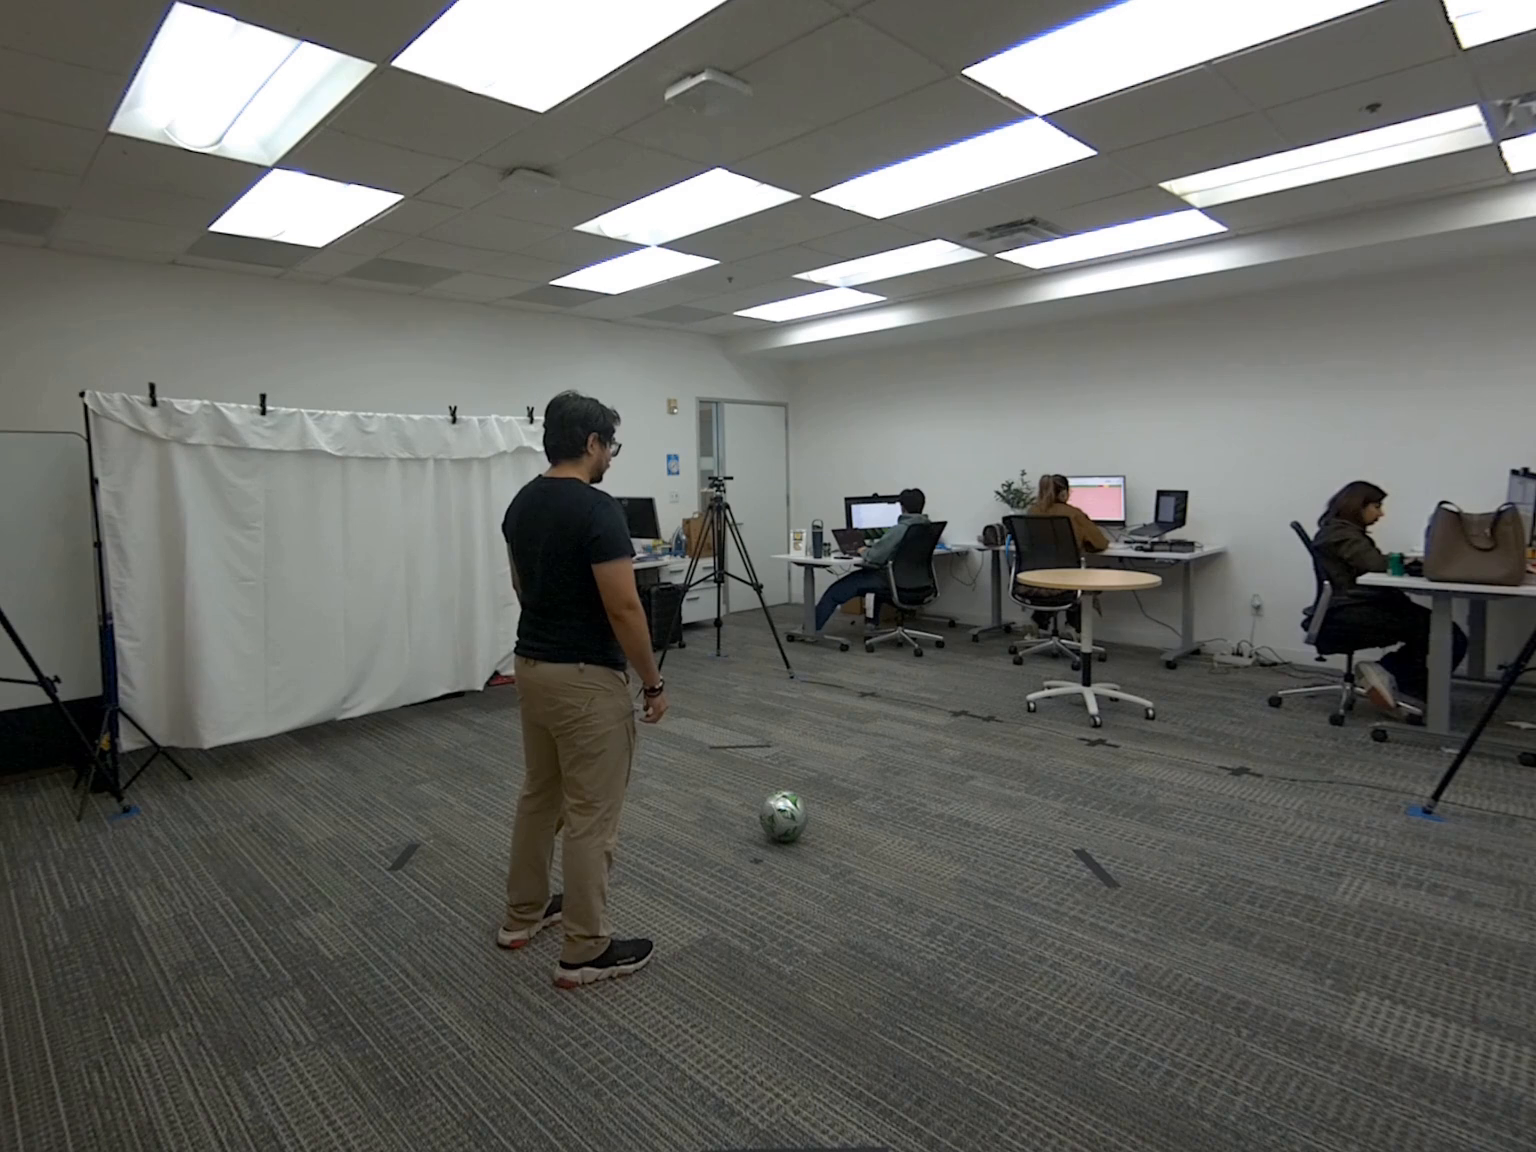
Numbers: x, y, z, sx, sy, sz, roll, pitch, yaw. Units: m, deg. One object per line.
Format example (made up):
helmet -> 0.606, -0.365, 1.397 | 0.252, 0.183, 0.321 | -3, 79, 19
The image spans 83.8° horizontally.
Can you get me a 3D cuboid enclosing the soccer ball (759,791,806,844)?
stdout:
soccer ball -> 0.066, 0.922, 3.286 | 0.187, 0.187, 0.188 | -1, 5, -2
